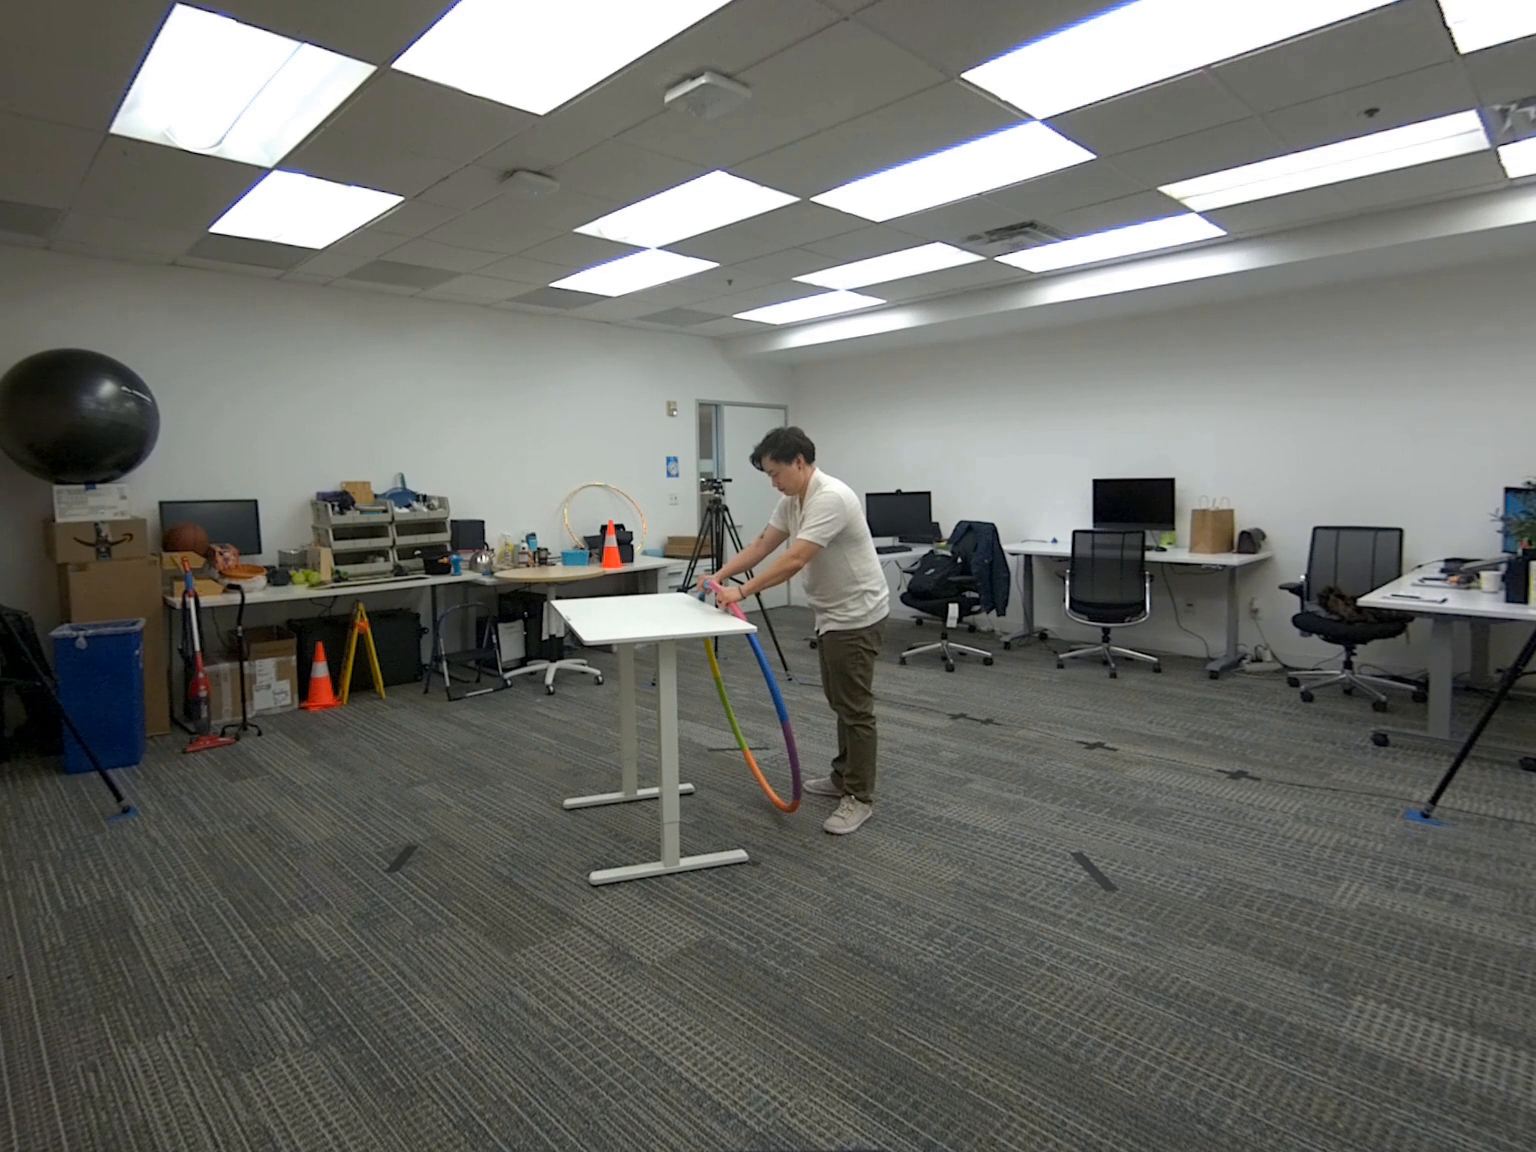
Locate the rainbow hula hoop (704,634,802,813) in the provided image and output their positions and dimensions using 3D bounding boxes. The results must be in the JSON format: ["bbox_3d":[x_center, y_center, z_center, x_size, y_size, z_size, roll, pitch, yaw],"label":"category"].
[{"bbox_3d":[-0.085,0.498,3.524,0.035,0.969,0.998,-18,9,-16],"label":"rainbow hula hoop"}]
